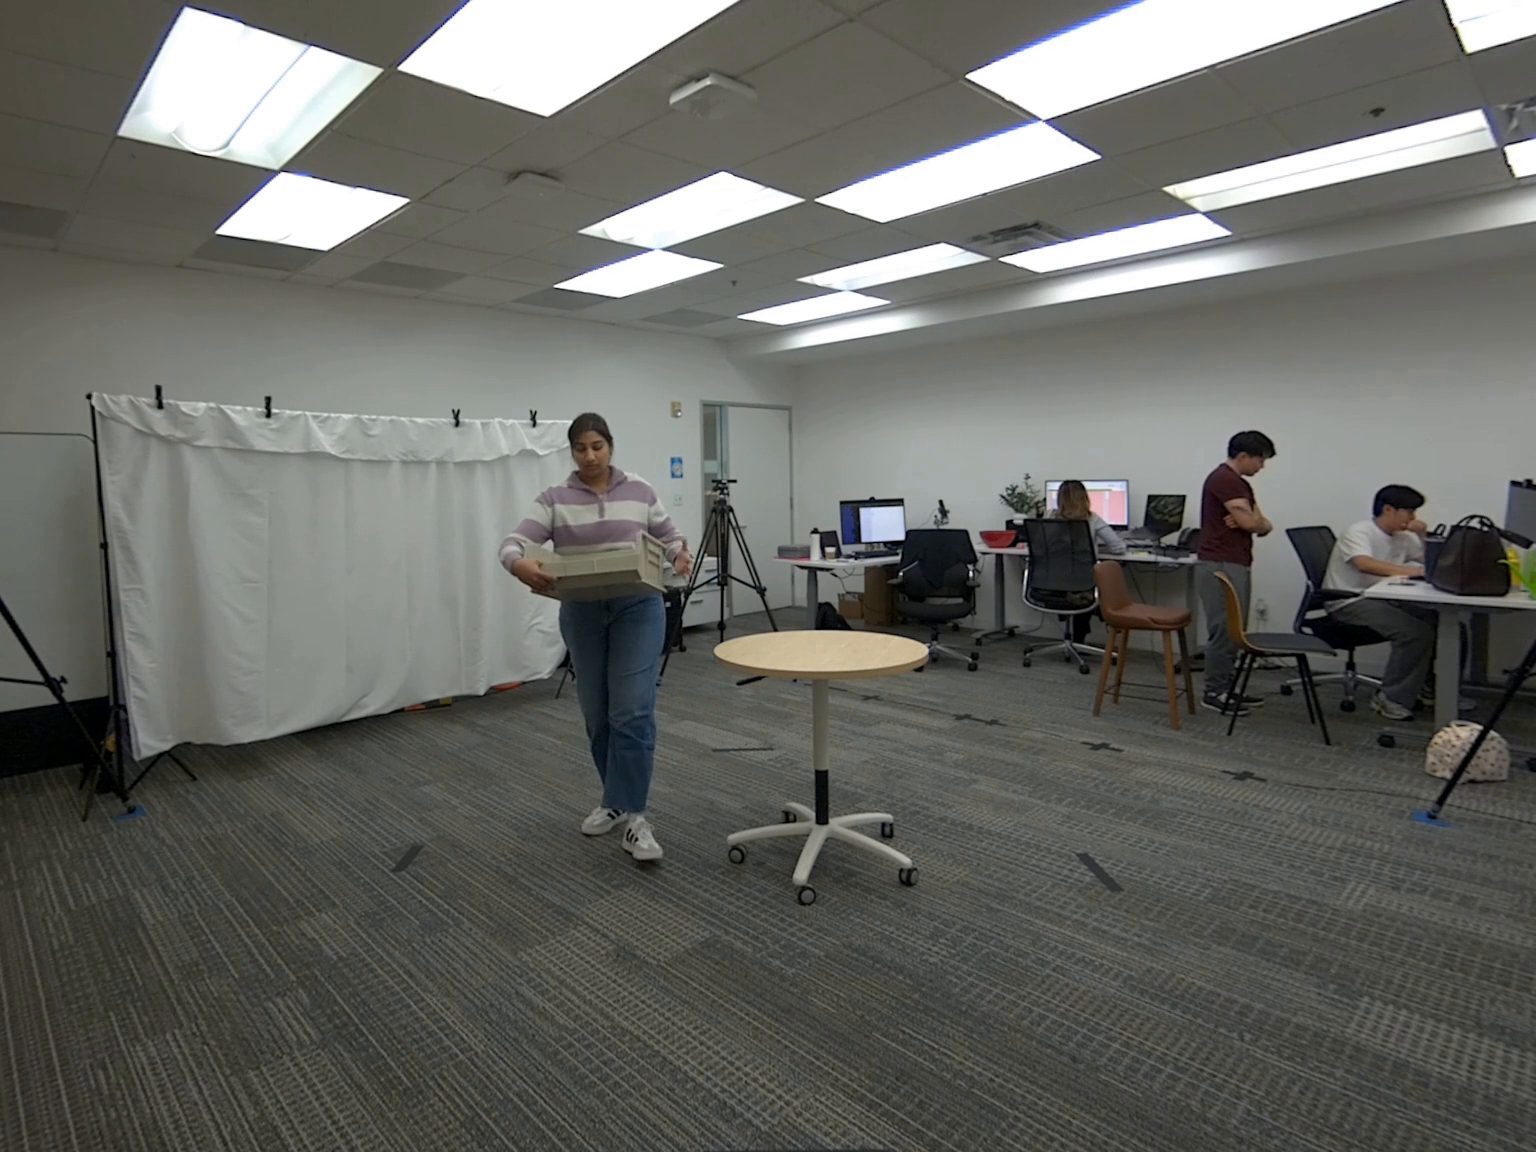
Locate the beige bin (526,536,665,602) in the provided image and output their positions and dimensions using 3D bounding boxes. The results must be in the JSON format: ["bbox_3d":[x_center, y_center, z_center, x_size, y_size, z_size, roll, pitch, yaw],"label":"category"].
[{"bbox_3d":[-0.616,-0.026,3.078,0.426,0.191,0.370,-6,-10,10],"label":"beige bin"}]
